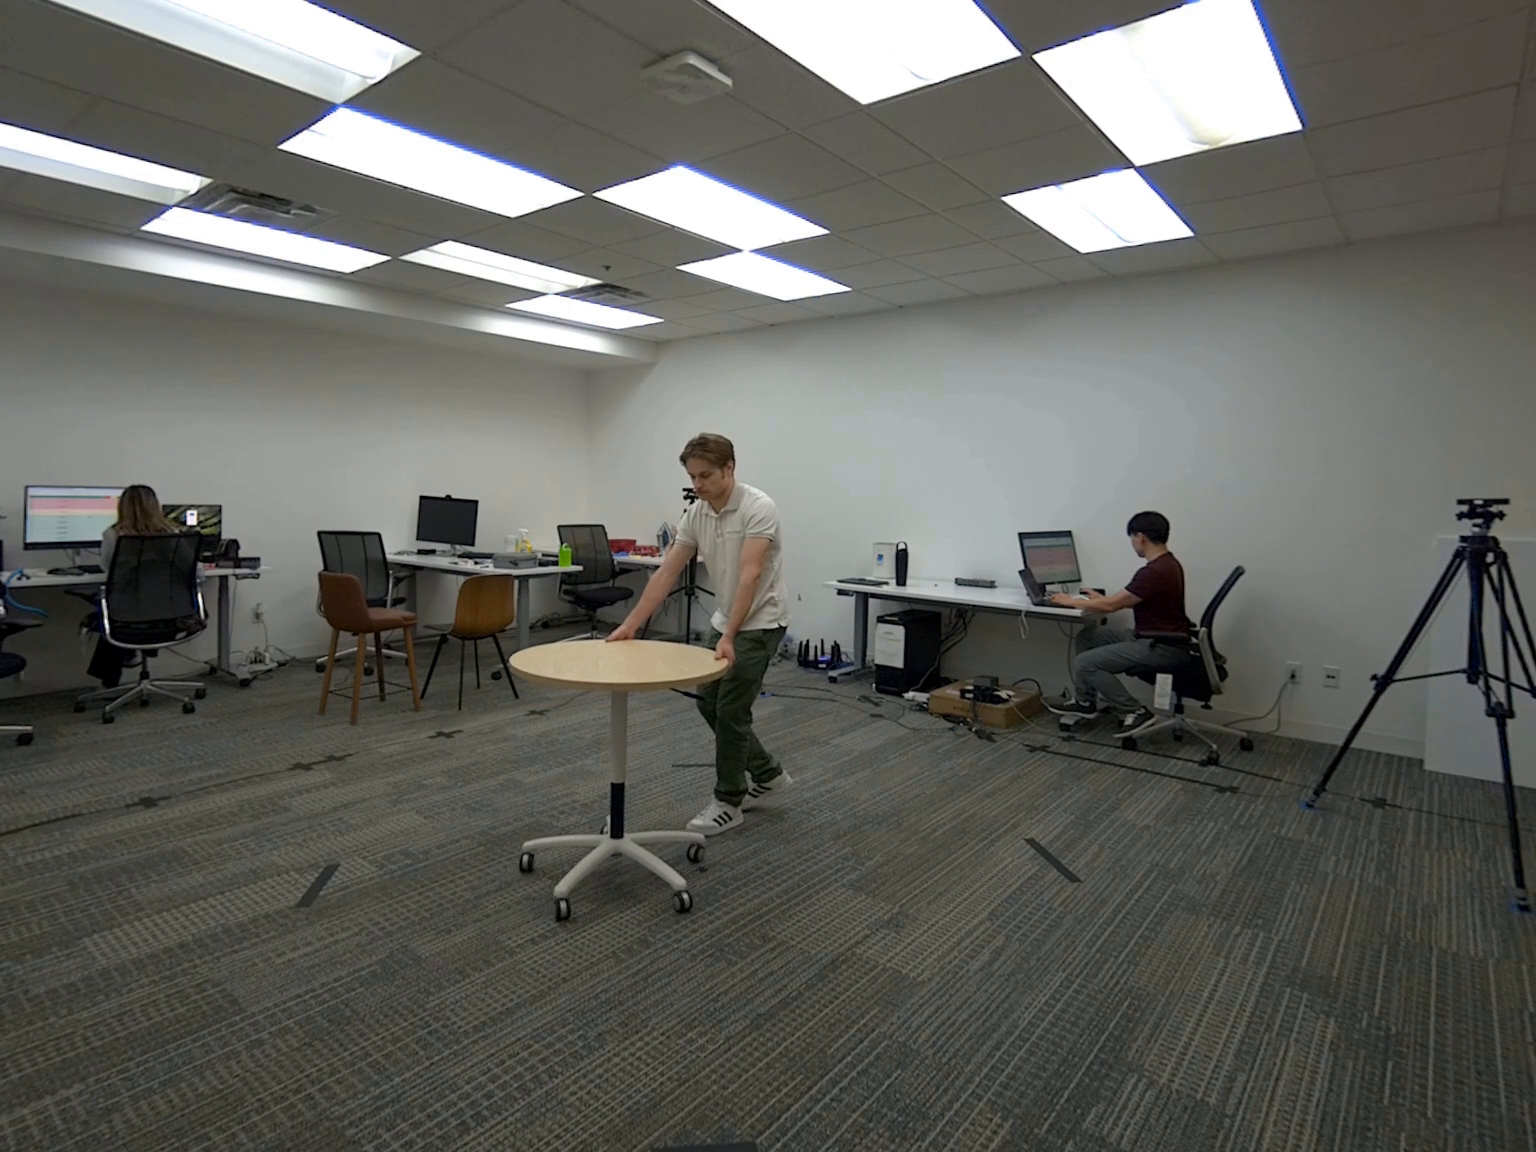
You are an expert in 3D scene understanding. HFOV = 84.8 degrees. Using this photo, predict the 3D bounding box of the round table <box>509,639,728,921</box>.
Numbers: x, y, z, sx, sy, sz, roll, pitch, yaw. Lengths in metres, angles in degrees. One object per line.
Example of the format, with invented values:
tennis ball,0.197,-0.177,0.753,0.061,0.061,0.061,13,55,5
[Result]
round table,-0.543,0.677,3.036,0.784,0.784,0.789,1,4,-2
